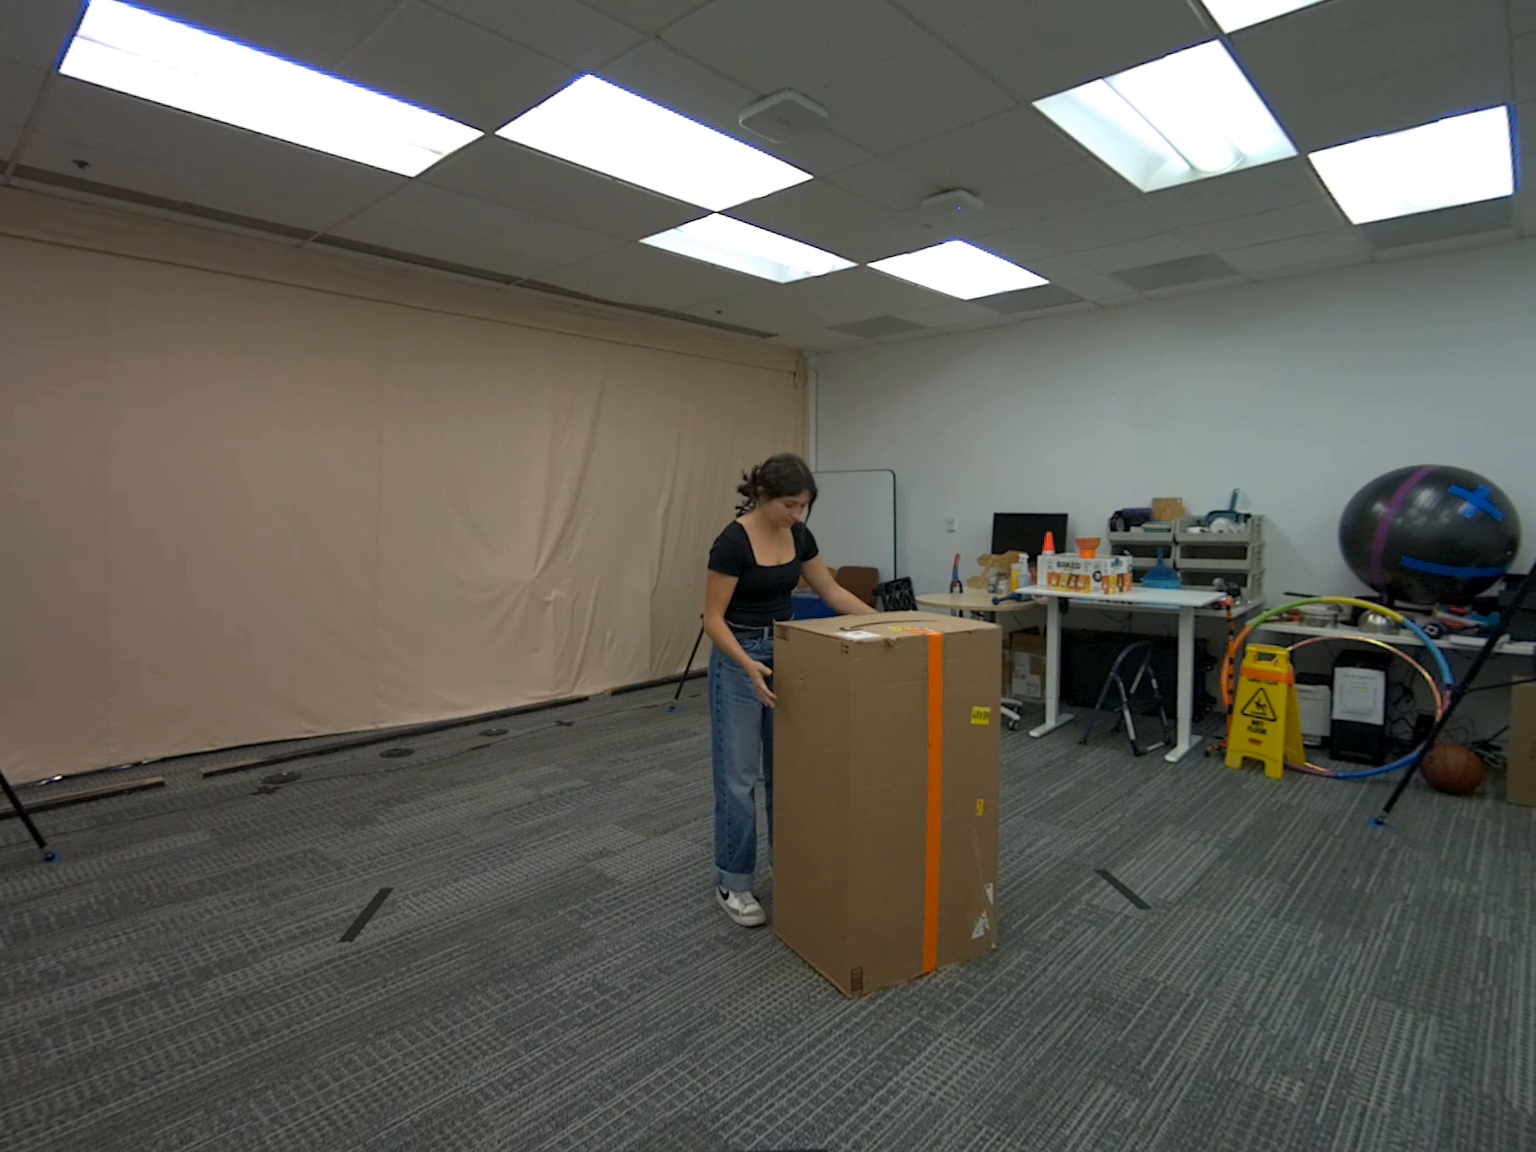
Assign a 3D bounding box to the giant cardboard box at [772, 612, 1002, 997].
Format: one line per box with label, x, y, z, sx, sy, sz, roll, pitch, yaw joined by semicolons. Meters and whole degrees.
giant cardboard box;0.376;0.663;2.661;0.562;1.024;0.438;-2;3;-30
